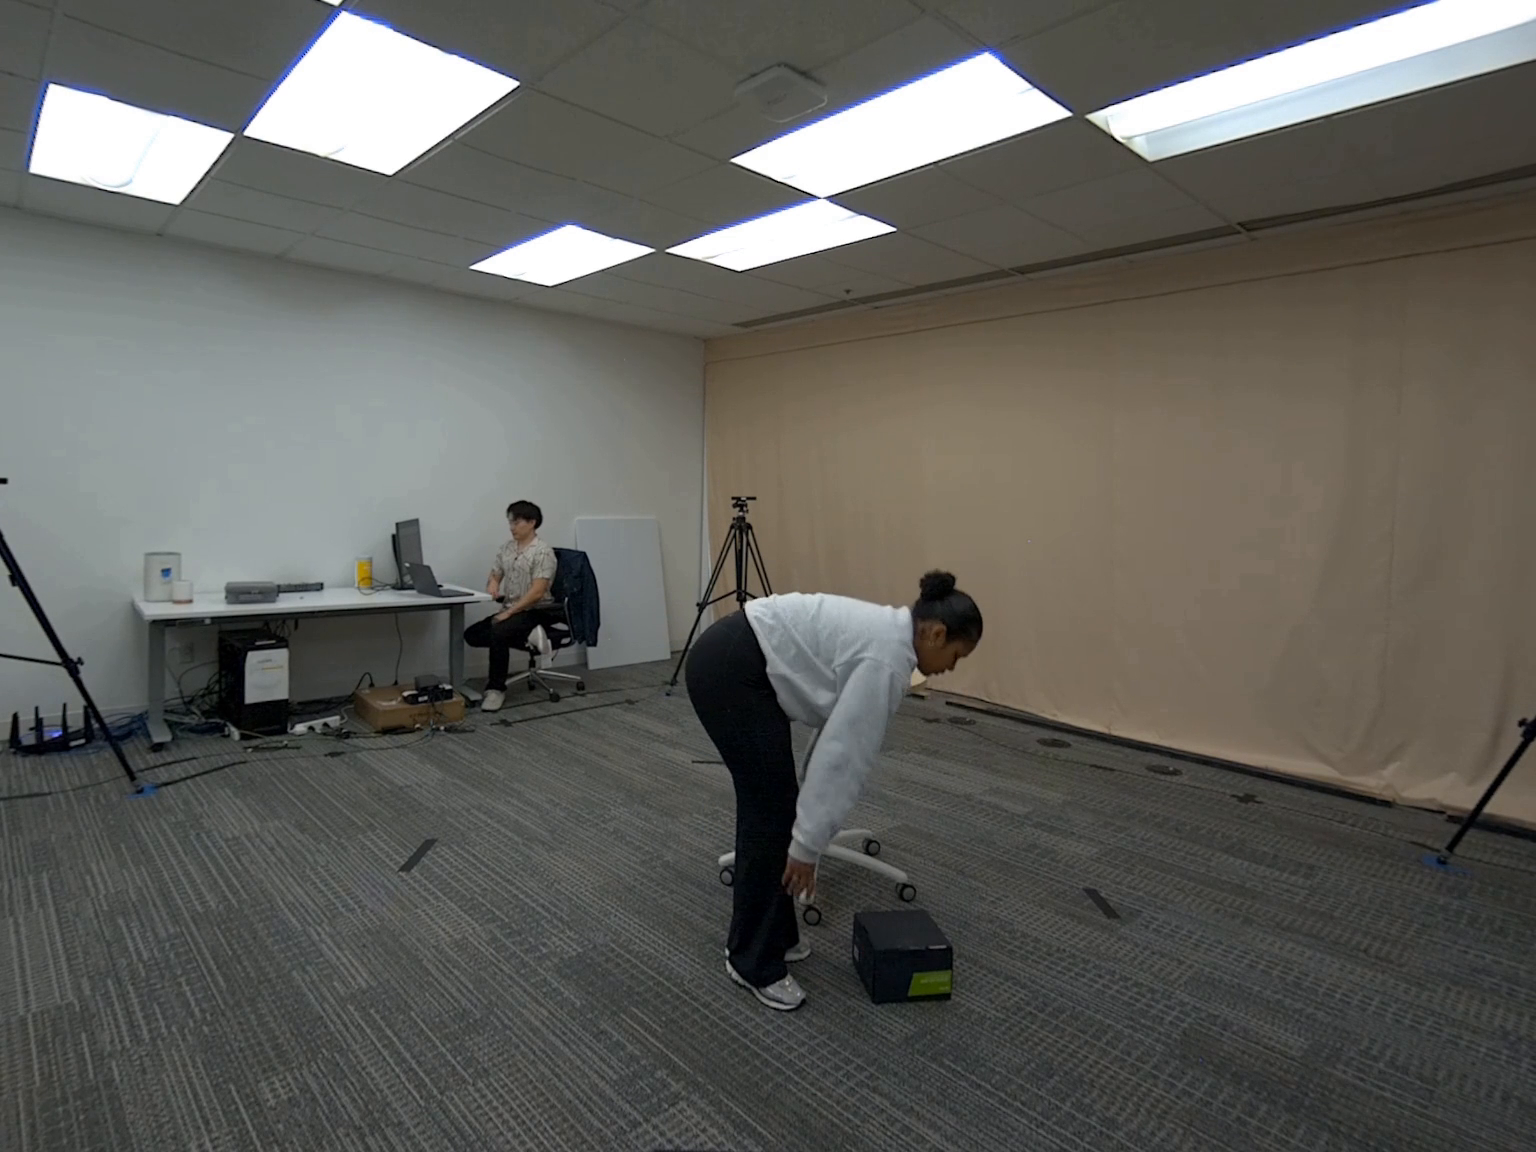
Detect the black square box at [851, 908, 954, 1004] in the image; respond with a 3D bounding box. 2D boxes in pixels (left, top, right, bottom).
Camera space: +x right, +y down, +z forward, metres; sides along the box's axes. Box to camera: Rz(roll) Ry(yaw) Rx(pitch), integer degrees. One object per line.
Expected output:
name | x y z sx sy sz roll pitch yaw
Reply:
black square box | 0.382 1.099 2.437 0.226 0.155 0.219 1 5 -9
